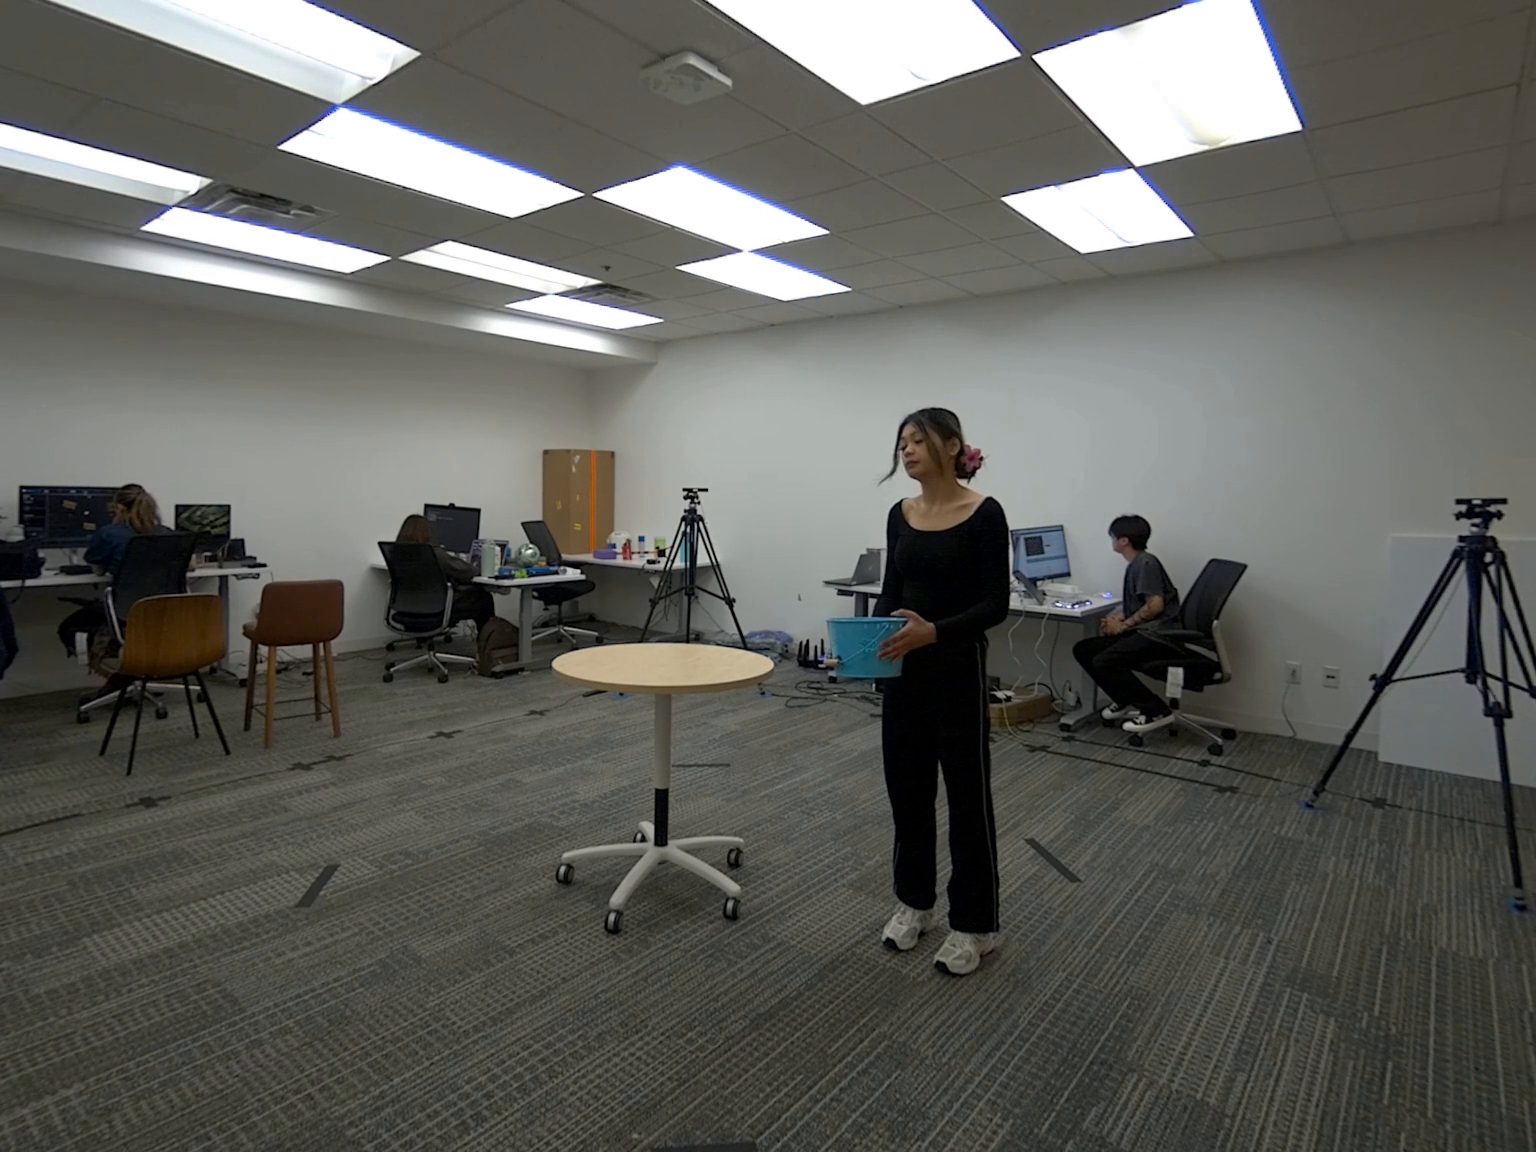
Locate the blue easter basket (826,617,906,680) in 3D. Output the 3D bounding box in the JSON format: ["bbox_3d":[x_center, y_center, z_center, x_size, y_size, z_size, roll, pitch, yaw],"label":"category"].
[{"bbox_3d":[0.280,0.198,2.362,0.243,0.156,0.243,1,-2,-2],"label":"blue easter basket"}]
